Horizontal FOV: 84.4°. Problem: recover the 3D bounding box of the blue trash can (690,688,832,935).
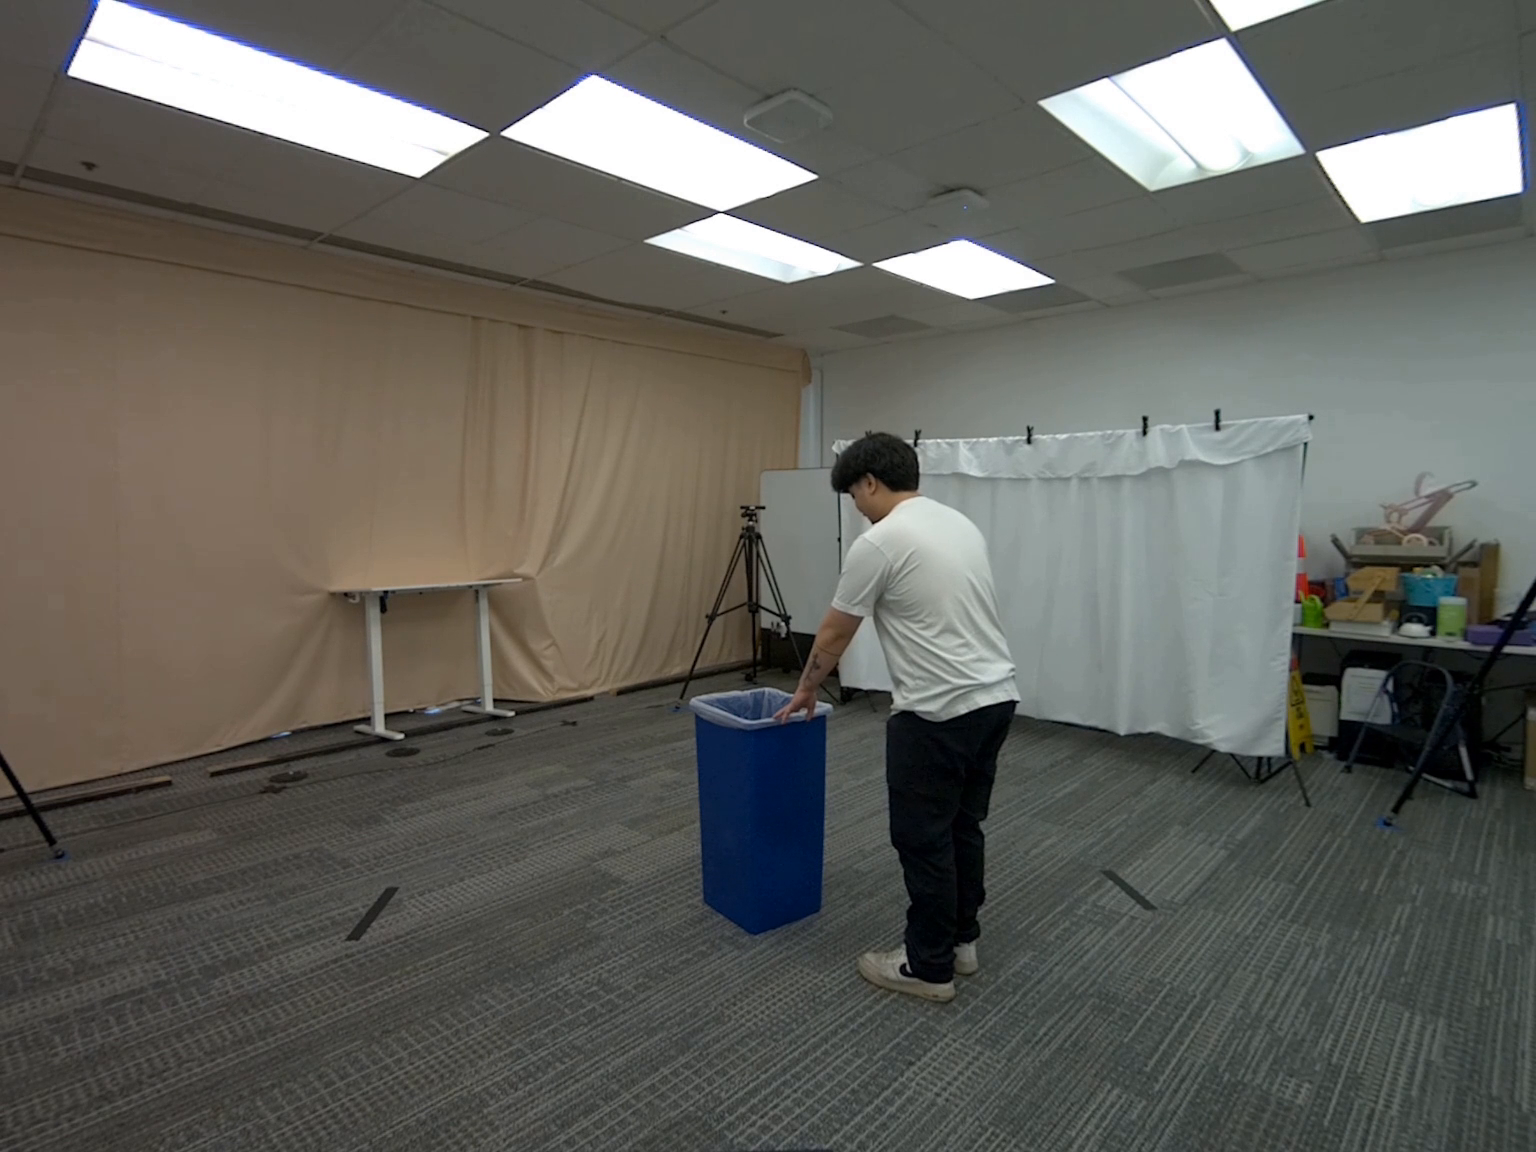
[{"bbox_3d":[-0.026,0.792,2.906,0.363,0.712,0.390,-2,4,-37],"label":"blue trash can"}]
